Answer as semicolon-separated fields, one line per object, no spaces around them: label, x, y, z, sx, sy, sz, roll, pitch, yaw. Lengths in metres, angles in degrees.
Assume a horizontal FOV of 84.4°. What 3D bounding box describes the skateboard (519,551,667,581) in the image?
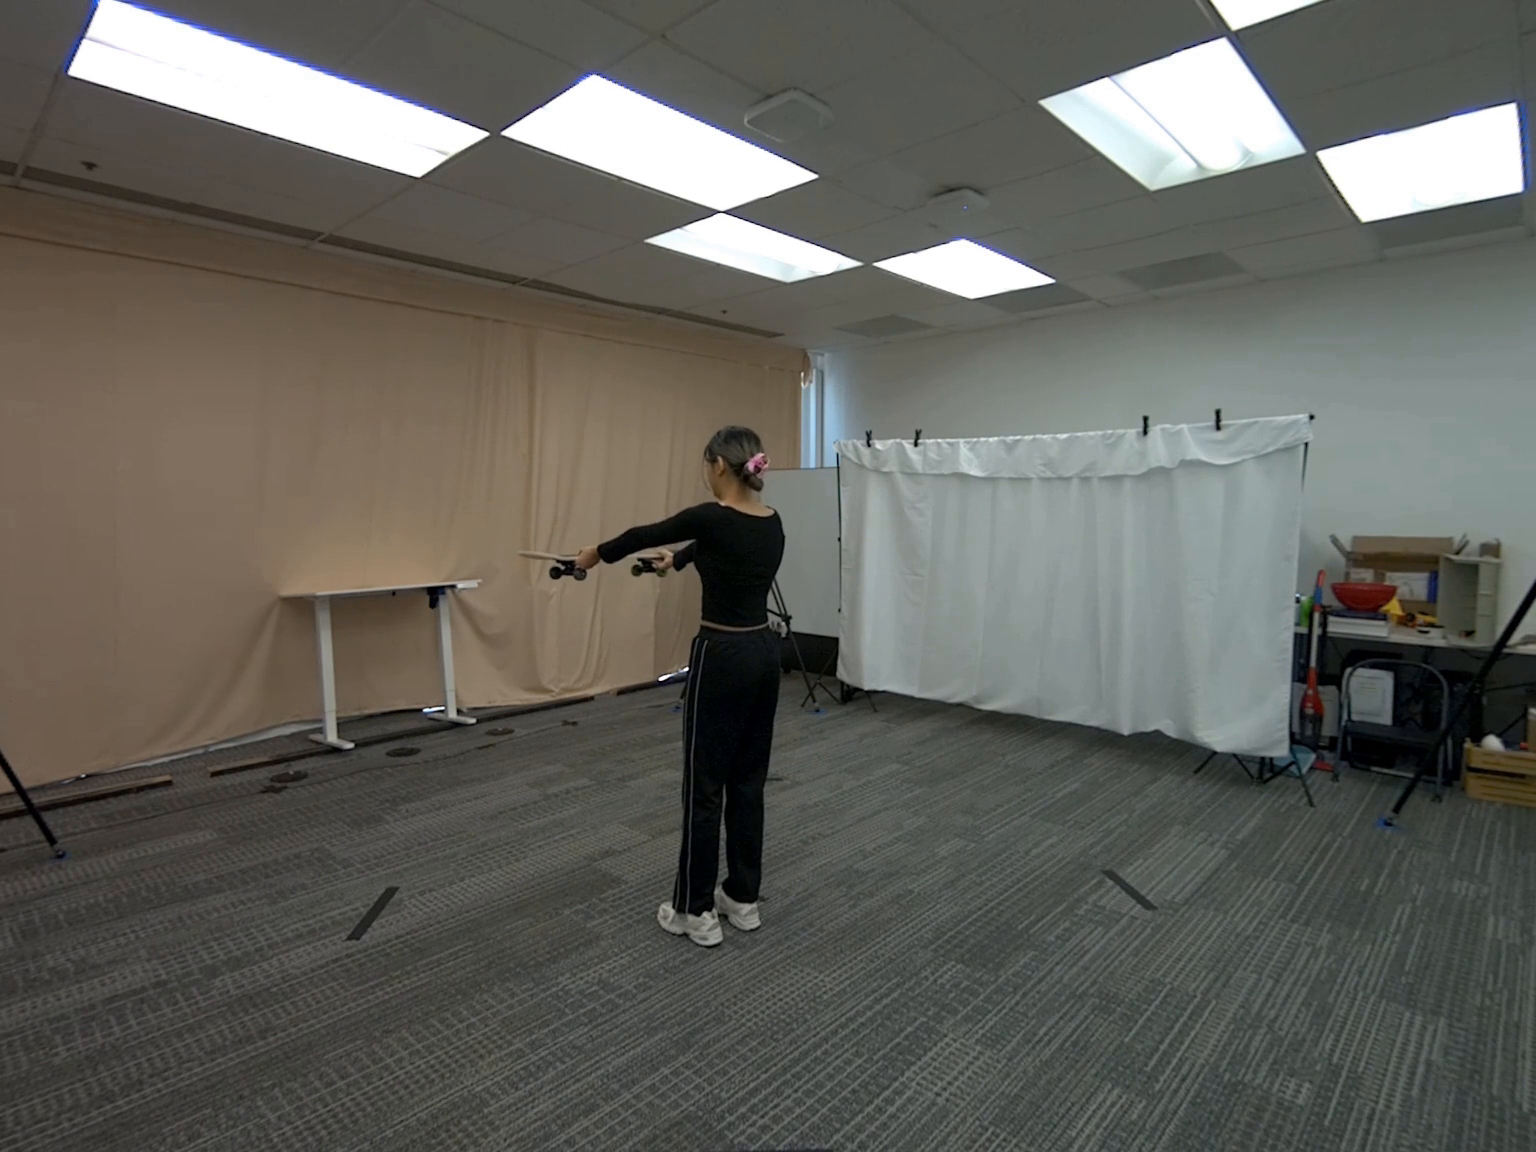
skateboard;-0.614;-0.041;3.258;0.199;0.110;0.761;-2;1;43
